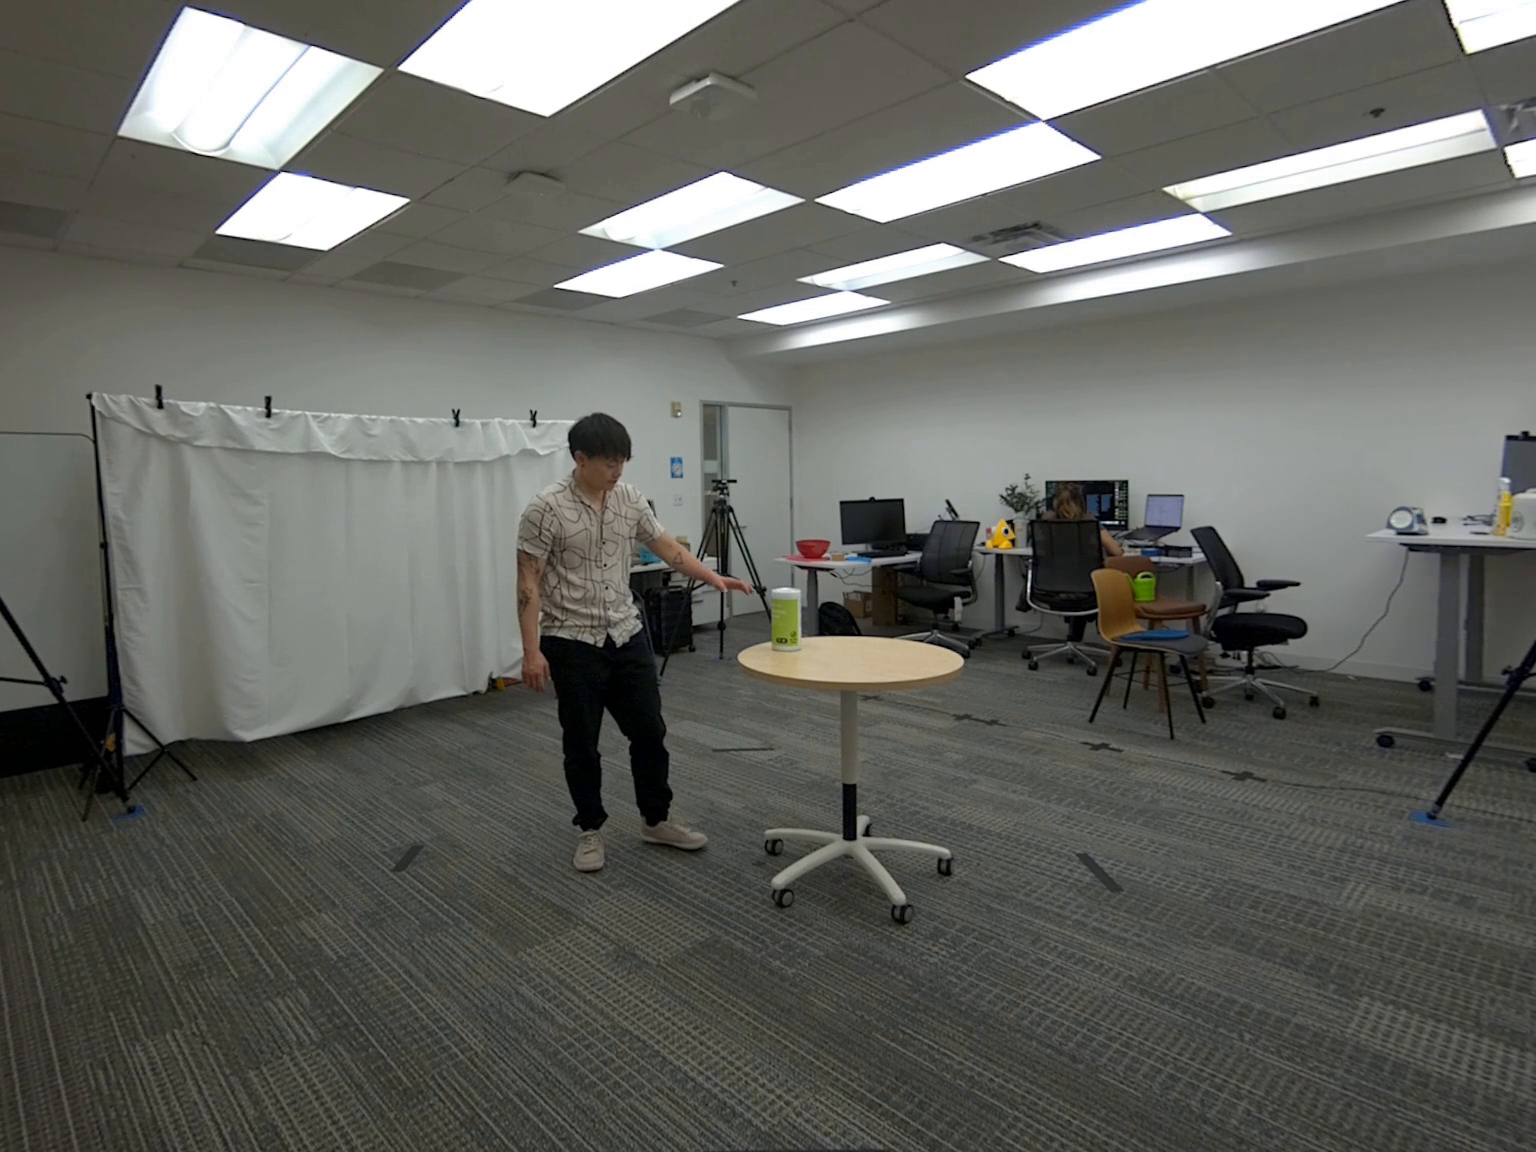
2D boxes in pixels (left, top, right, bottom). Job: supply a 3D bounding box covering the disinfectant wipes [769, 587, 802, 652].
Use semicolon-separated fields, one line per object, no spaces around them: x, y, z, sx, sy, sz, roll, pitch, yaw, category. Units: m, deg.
0.062;0.157;3.080;0.118;0.217;0.118;0;4;-2;disinfectant wipes
